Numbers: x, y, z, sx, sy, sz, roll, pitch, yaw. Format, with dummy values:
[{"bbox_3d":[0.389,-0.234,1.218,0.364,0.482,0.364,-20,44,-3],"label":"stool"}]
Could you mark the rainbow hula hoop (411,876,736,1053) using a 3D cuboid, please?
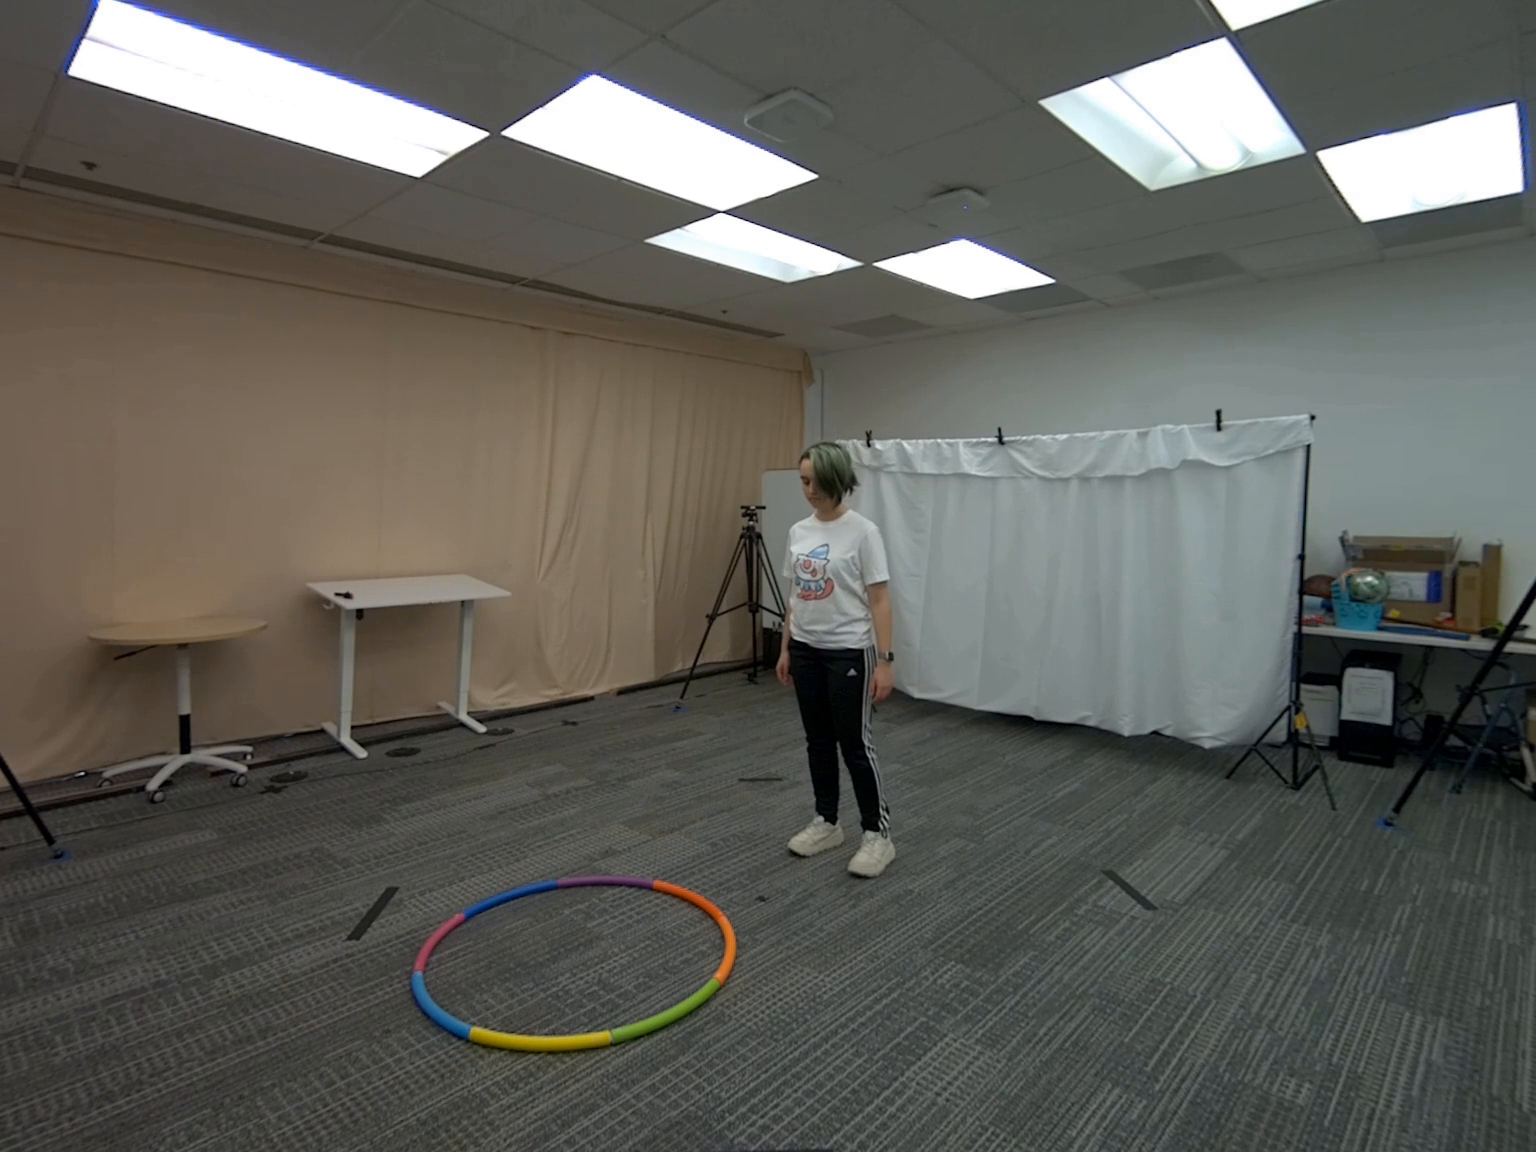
[{"bbox_3d":[-0.586,1.147,2.632,0.978,0.035,0.982,0,4,-2],"label":"rainbow hula hoop"}]
